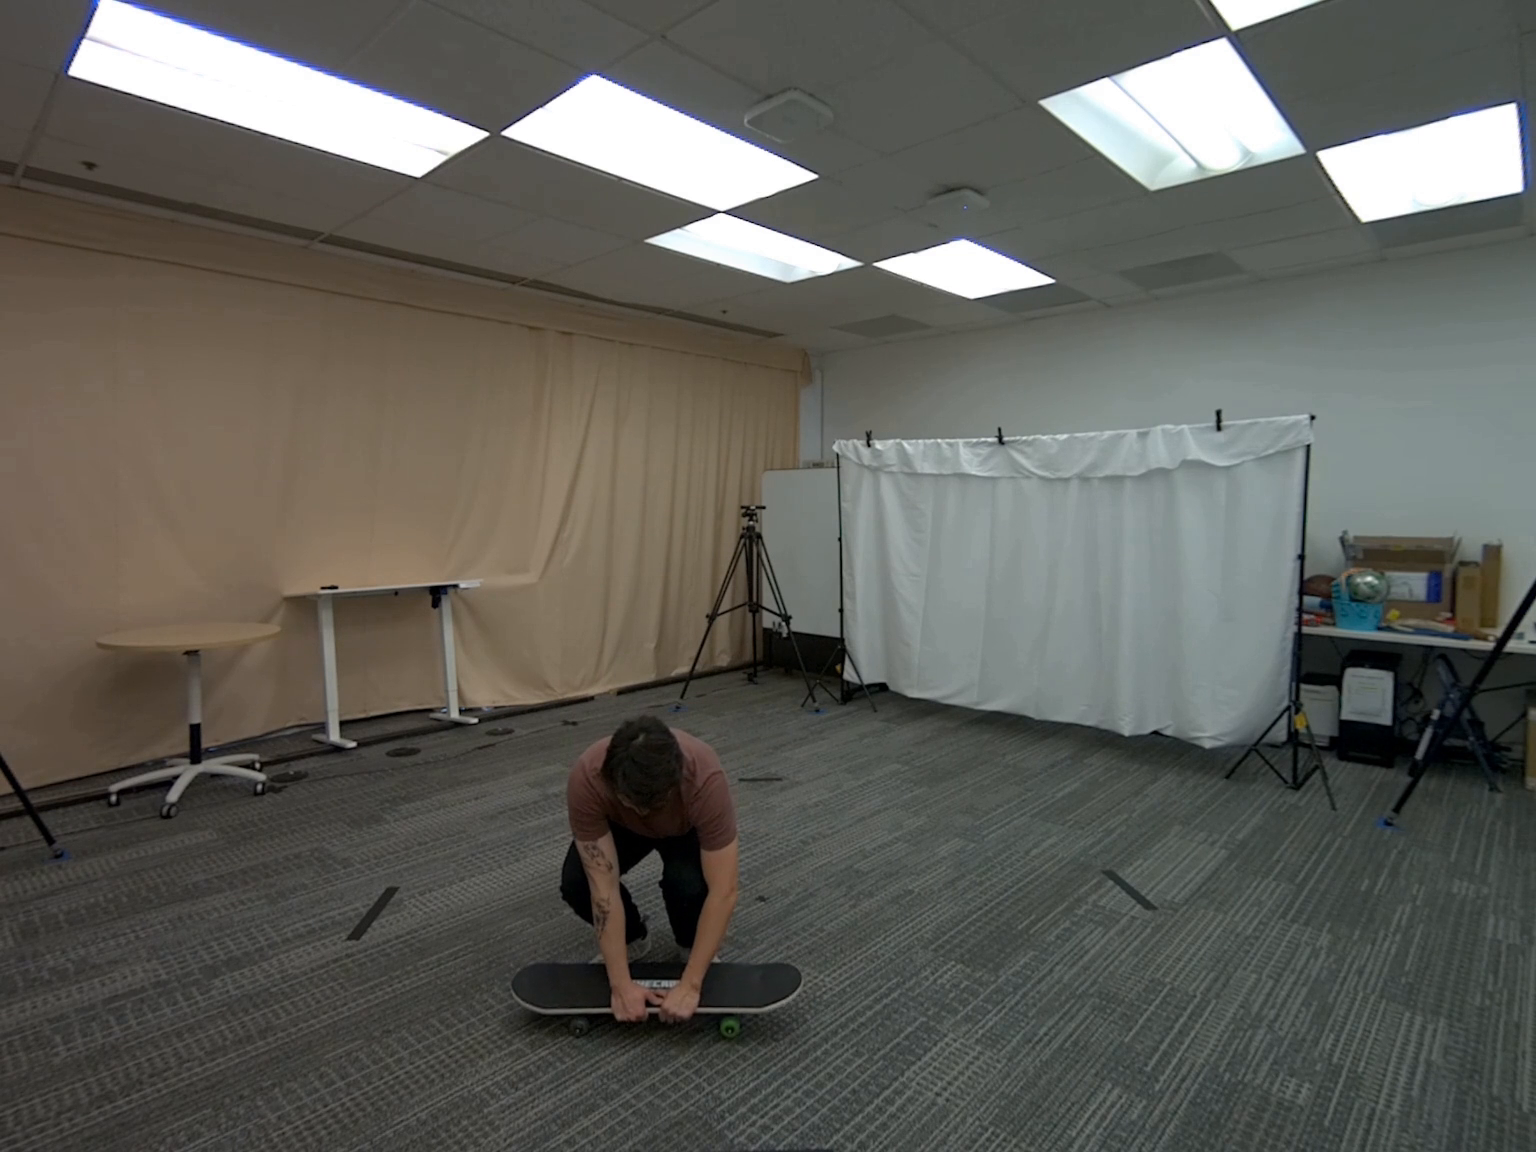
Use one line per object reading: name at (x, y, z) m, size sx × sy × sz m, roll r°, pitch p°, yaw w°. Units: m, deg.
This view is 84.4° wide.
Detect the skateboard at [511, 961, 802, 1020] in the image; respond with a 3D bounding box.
skateboard at (-0.298, 1.140, 2.262) m, size 0.788 × 0.110 × 0.194 m, roll -3°, pitch 8°, yaw 3°
